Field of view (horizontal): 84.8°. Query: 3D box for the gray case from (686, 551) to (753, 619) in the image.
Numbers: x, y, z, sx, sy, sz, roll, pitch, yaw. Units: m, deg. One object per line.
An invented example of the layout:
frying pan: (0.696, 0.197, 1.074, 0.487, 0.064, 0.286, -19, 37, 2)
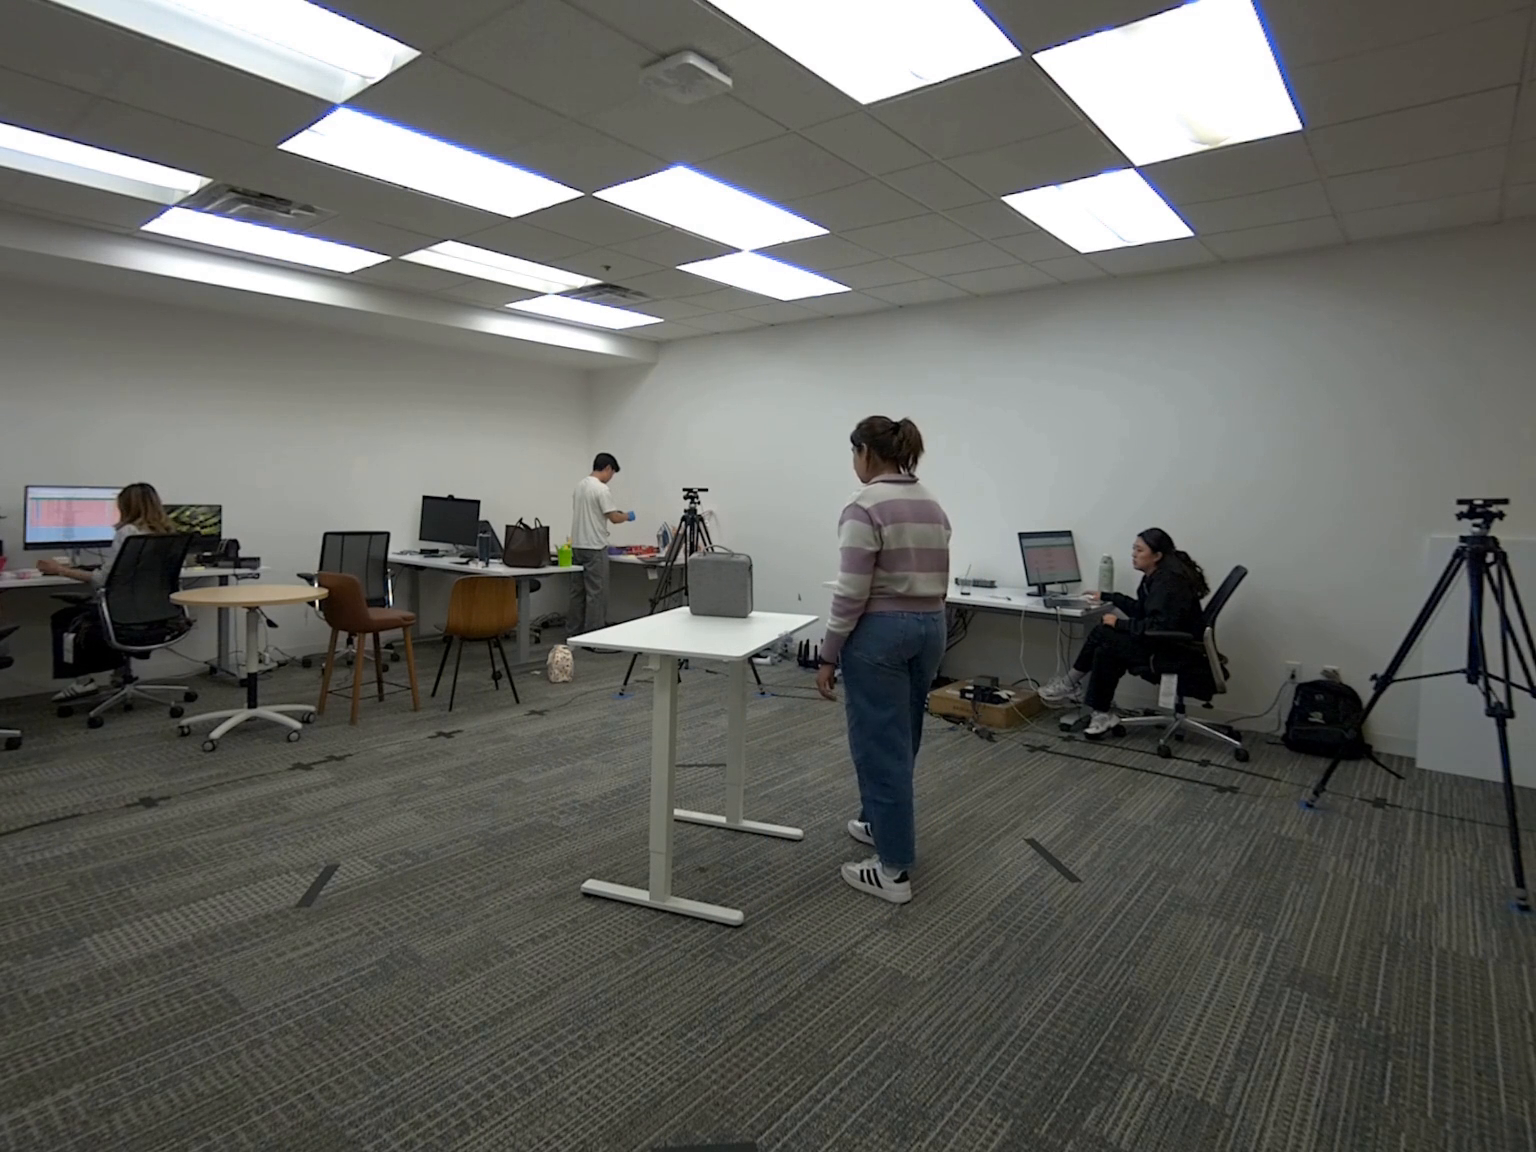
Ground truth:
gray case: (-0.201, 0.028, 3.420, 0.261, 0.257, 0.104, 2, 13, 13)
